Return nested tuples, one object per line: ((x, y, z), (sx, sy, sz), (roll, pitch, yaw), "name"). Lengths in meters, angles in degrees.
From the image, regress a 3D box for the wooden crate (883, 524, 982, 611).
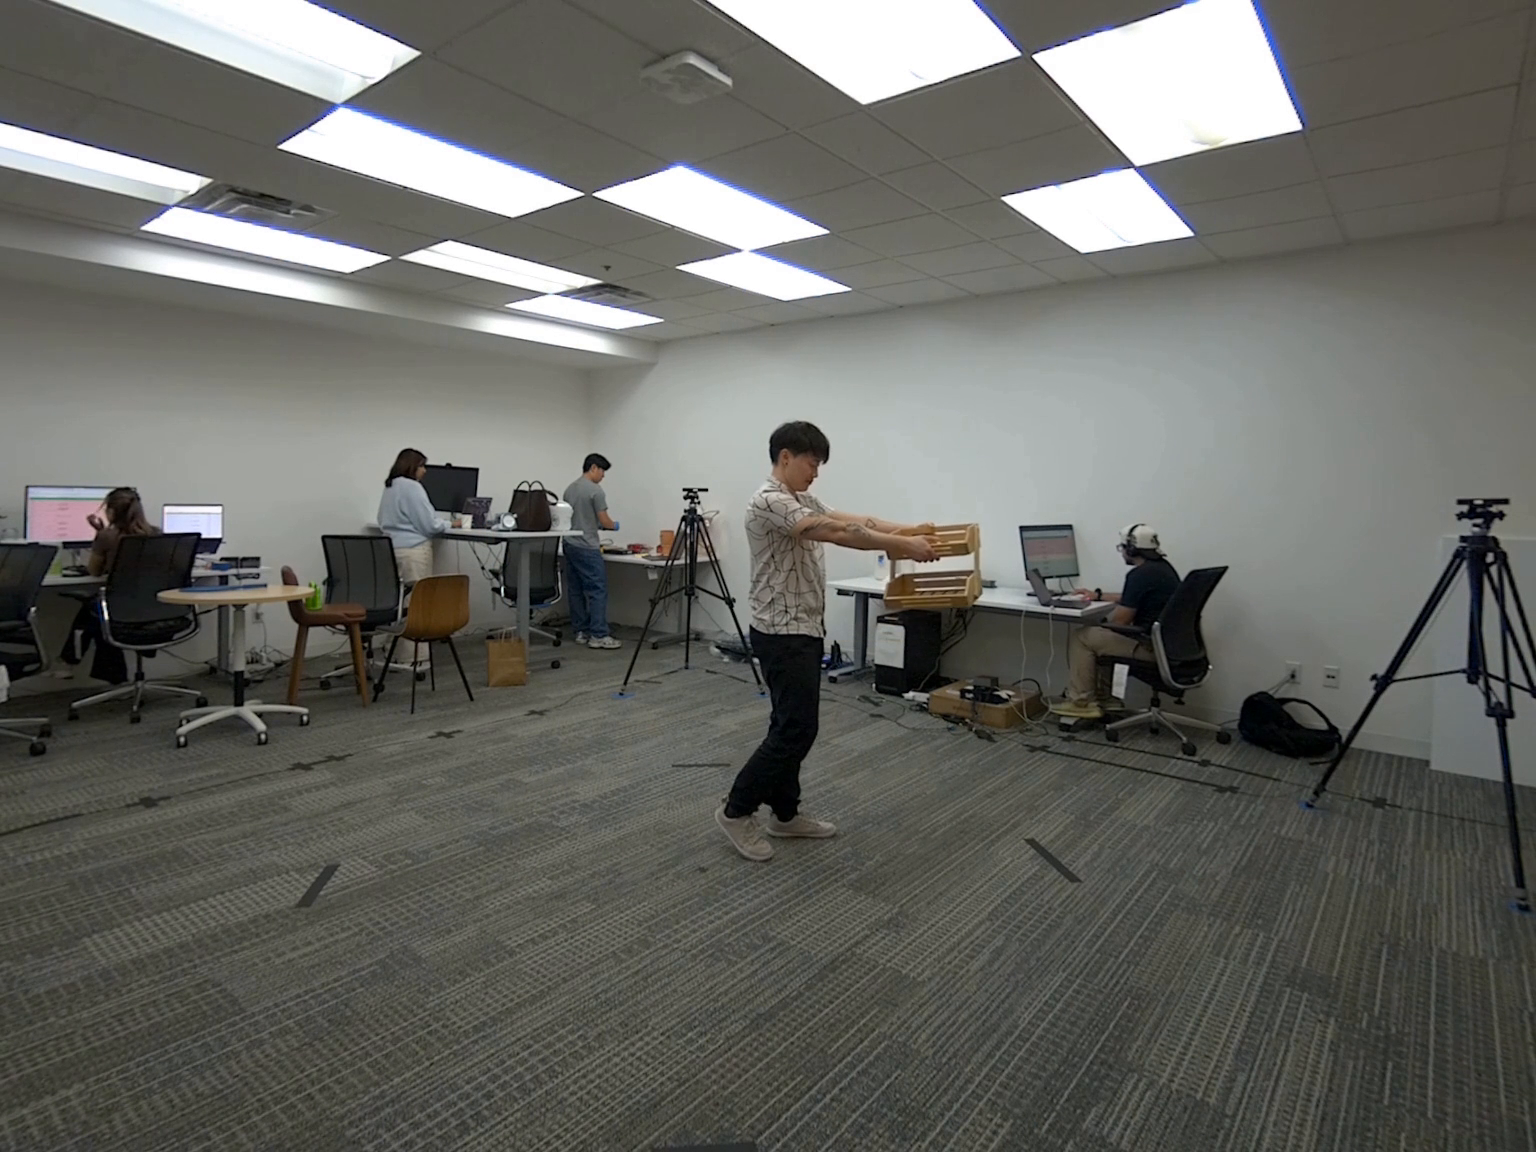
((0.599, -0.038, 3.136), (0.332, 0.272, 0.296), (-3, 7, 27), "wooden crate")
